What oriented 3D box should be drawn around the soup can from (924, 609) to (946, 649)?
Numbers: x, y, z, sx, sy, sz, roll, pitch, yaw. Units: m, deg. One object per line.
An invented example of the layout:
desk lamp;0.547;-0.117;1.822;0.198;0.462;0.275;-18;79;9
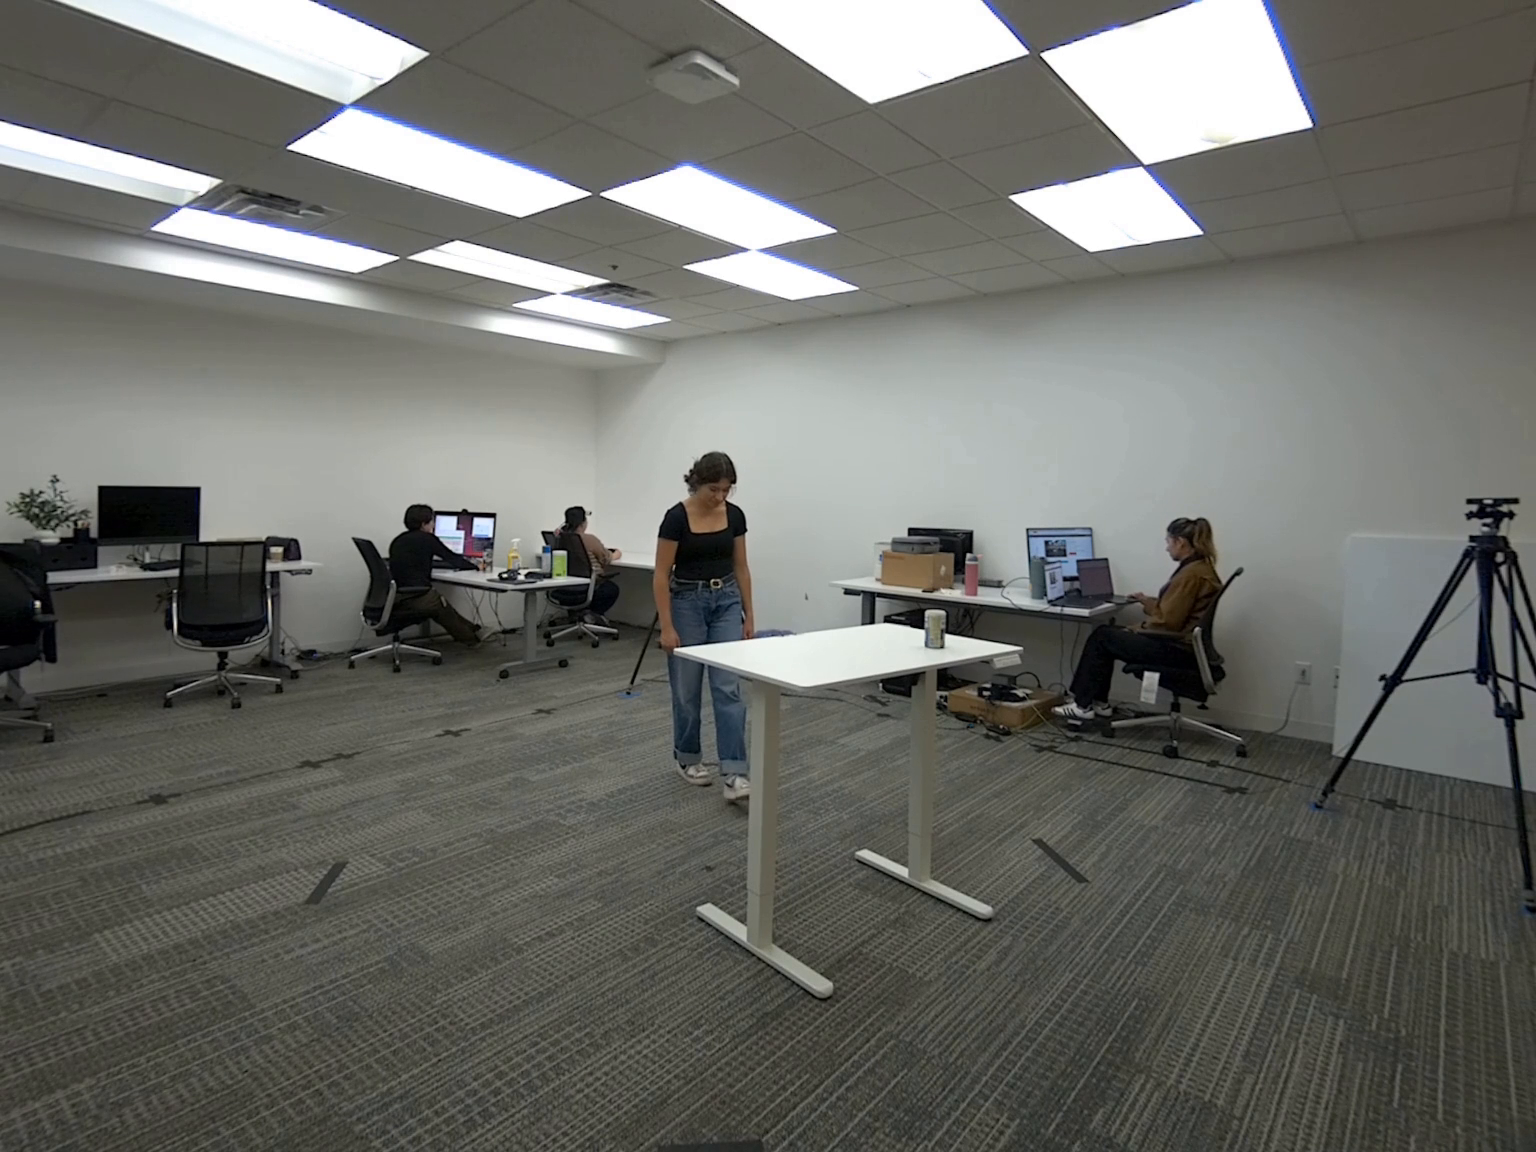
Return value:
soup can;0.547;0.176;2.790;0.067;0.121;0.067;3;2;-2
